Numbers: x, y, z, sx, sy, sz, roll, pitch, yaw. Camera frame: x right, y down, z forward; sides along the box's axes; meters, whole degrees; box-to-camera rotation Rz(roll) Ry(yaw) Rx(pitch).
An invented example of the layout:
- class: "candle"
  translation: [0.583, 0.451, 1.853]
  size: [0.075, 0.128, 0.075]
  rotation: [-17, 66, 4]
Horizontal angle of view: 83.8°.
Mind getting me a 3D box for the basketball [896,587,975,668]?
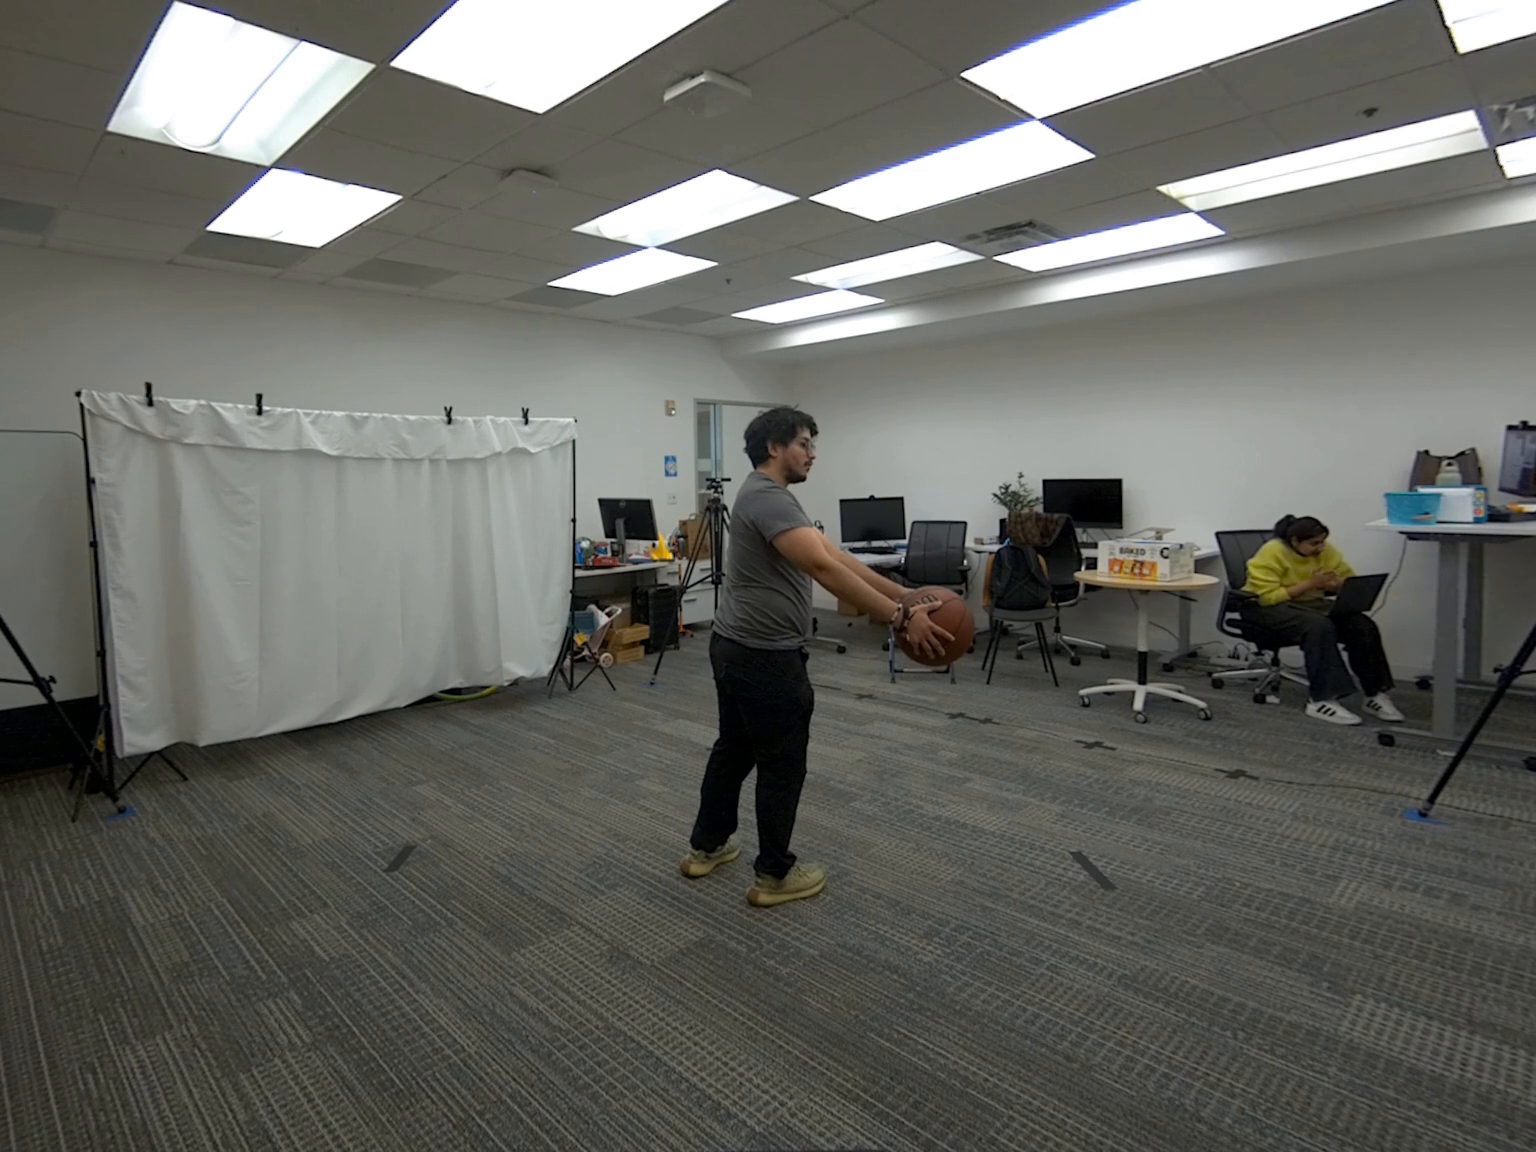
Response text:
- class: "basketball"
  translation: [0.493, 0.148, 2.561]
  size: [0.236, 0.235, 0.237]
  rotation: [-1, 5, -2]
